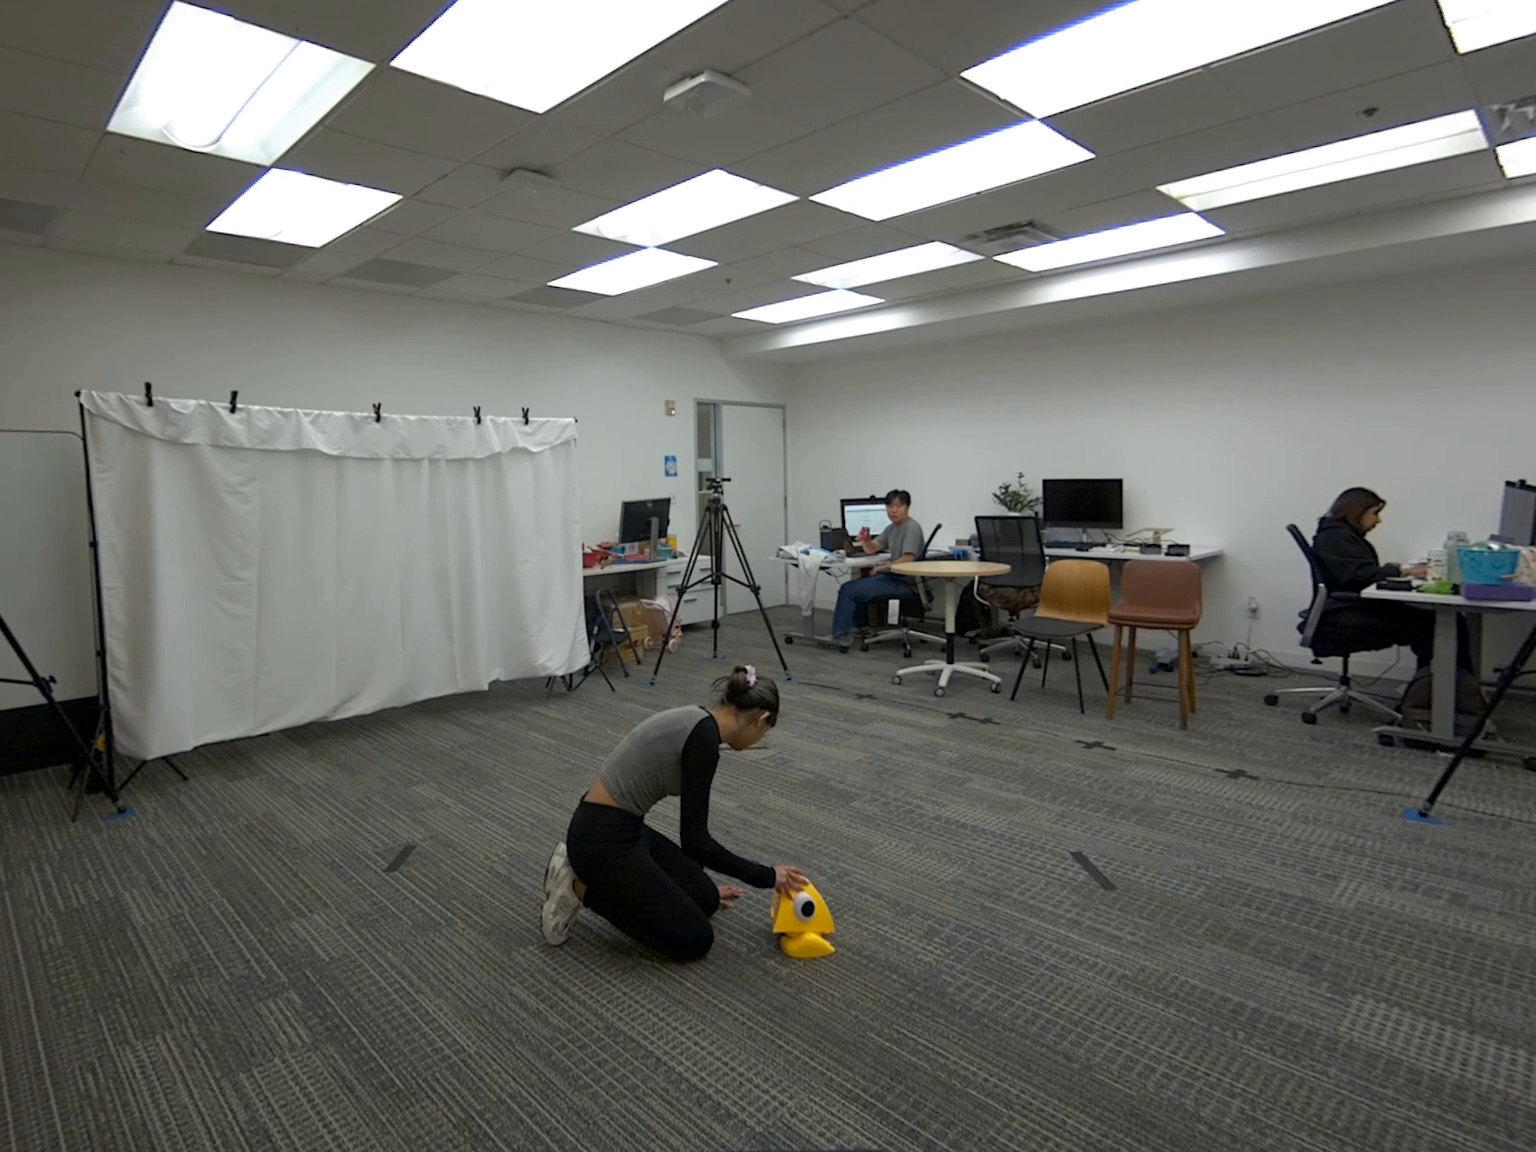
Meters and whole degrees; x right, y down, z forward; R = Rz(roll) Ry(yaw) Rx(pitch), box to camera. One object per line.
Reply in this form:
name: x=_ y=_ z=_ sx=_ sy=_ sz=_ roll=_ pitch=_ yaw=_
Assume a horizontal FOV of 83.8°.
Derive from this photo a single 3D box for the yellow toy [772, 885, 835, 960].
yellow toy: x=0.104 y=0.983 z=2.578 sx=0.193 sy=0.230 sz=0.205 roll=-2 pitch=5 yaw=1
